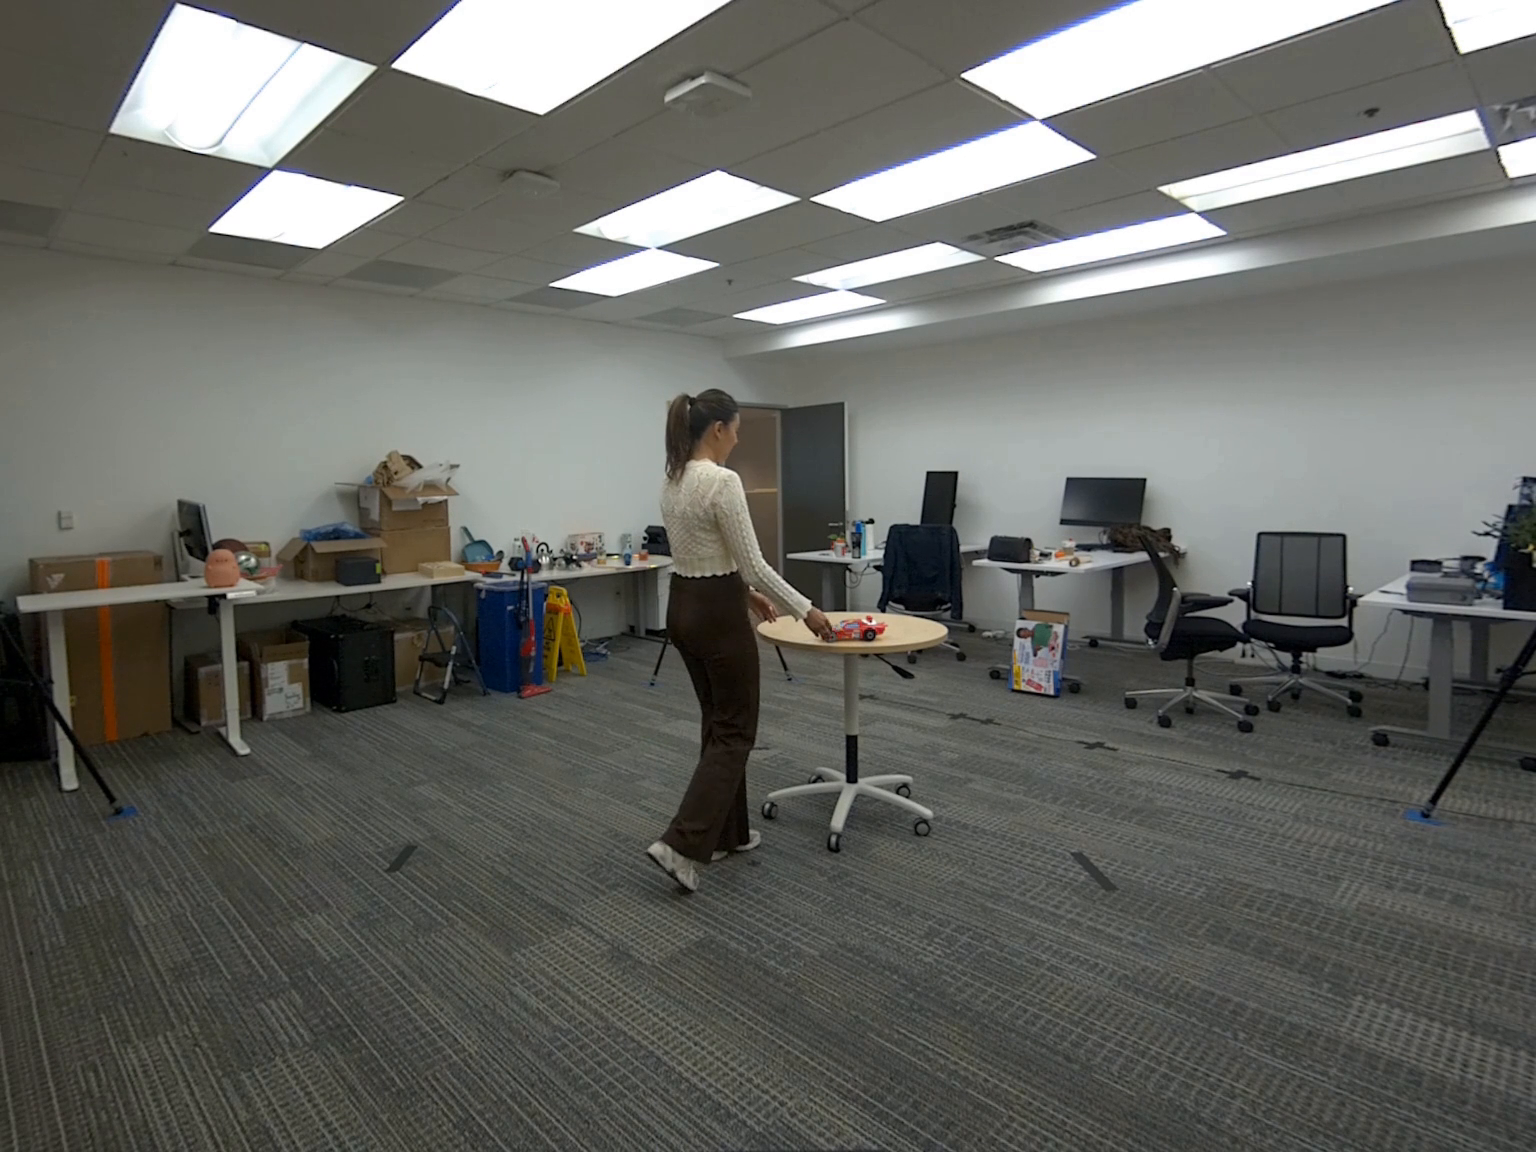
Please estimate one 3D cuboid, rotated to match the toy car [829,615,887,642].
[{"bbox_3d":[0.322,0.205,3.233,0.254,0.083,0.131,-13,6,-2],"label":"toy car"}]
